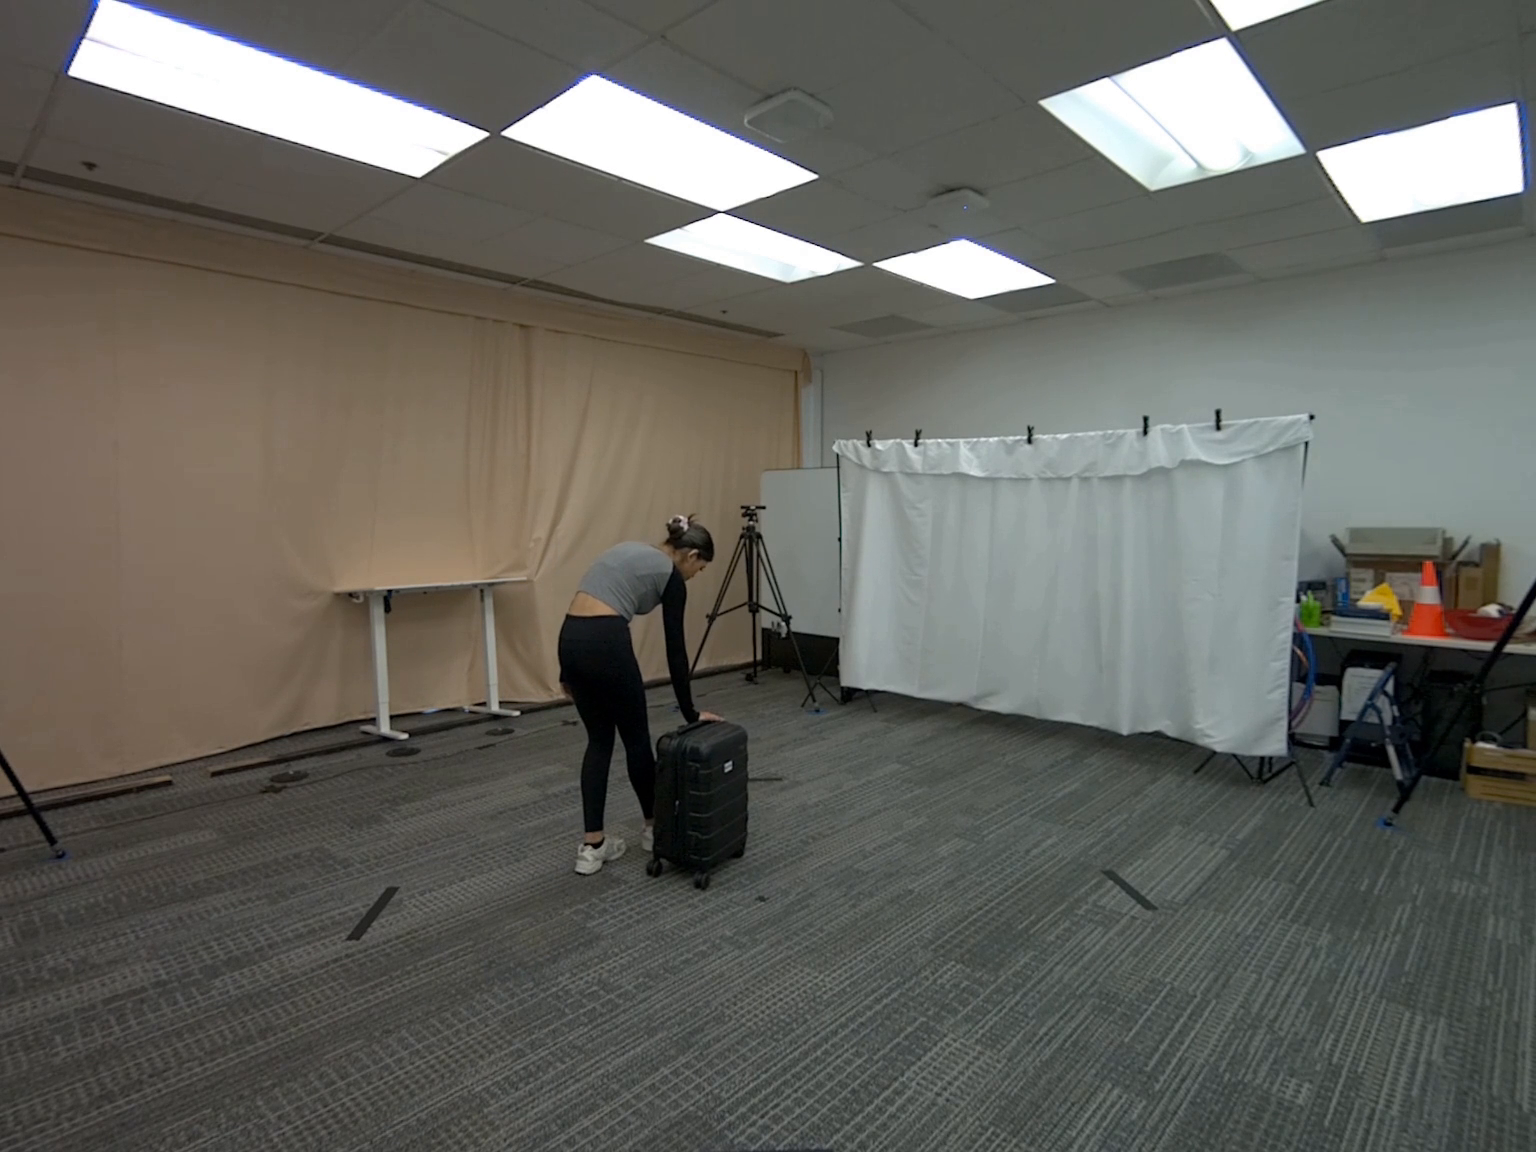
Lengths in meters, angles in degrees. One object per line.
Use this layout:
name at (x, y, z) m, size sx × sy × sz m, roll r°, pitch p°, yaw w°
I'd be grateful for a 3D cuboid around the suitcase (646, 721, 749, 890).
suitcase at (-0.255, 0.847, 3.253) m, size 0.255 × 0.548 × 0.365 m, roll 4°, pitch 3°, yaw 29°
